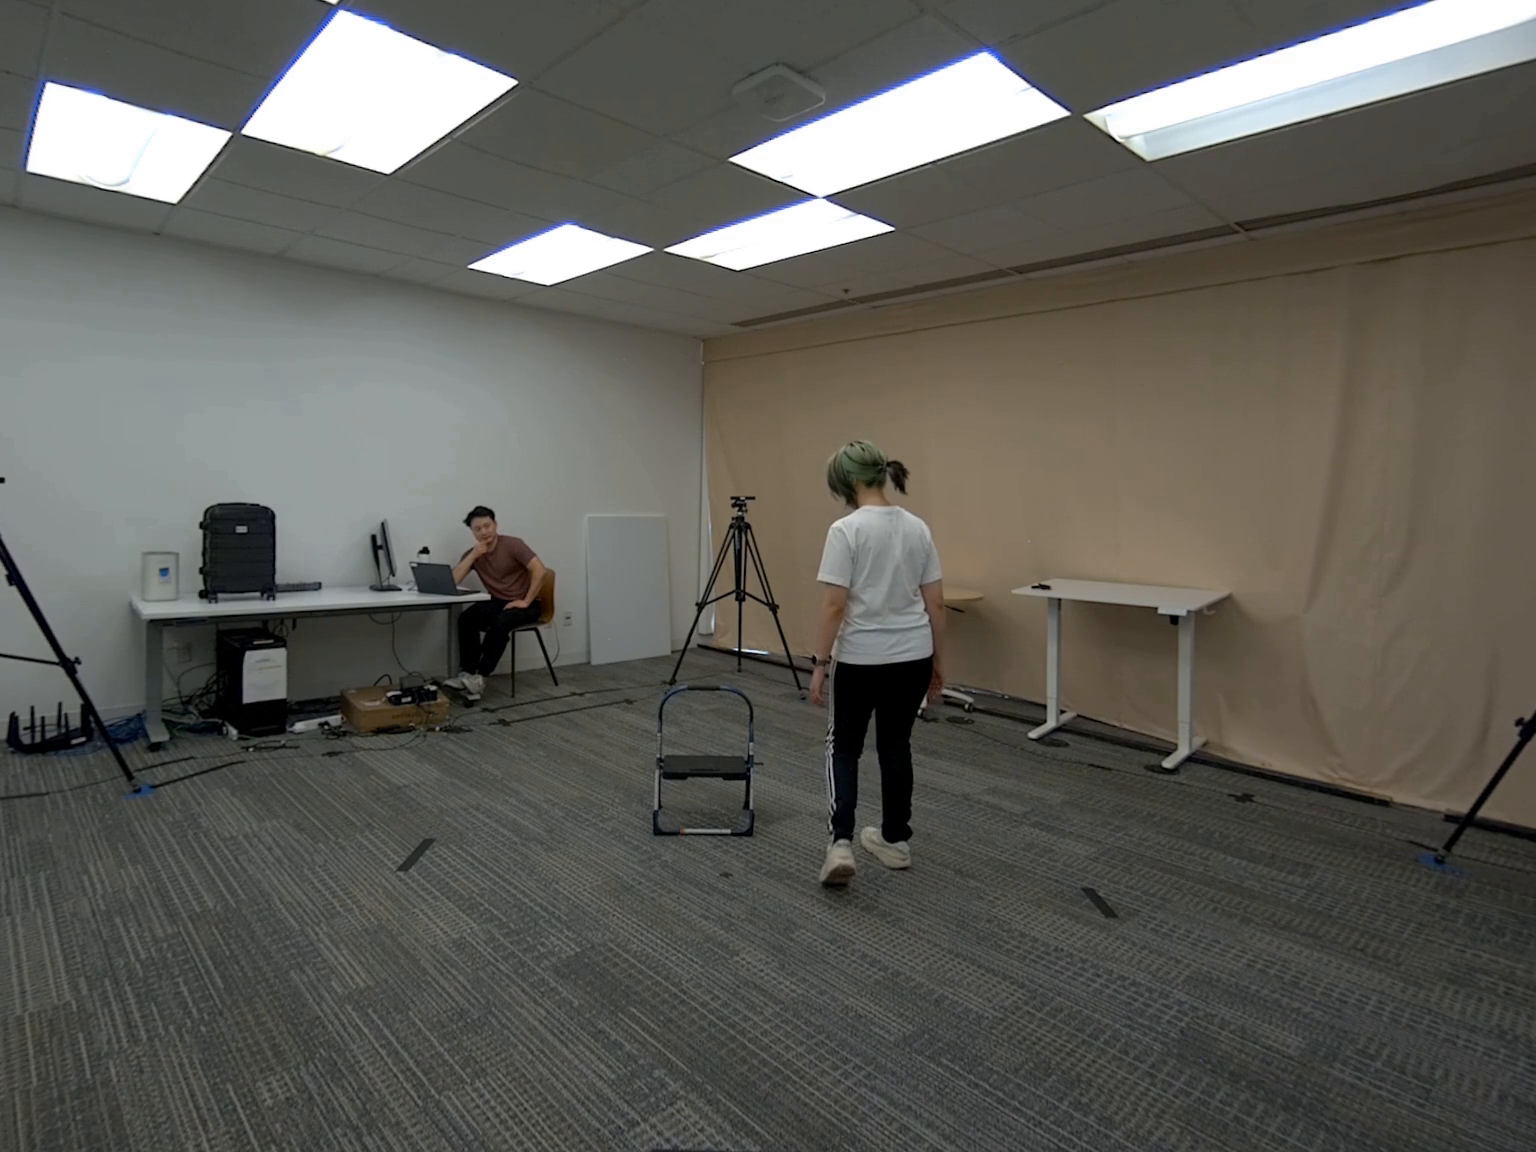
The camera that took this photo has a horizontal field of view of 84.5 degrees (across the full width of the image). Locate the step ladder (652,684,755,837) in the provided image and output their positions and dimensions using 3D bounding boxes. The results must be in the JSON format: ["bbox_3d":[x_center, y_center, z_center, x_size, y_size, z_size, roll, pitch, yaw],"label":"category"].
[{"bbox_3d":[-0.280,0.756,3.620,0.429,0.605,0.351,1,3,-4],"label":"step ladder"}]
